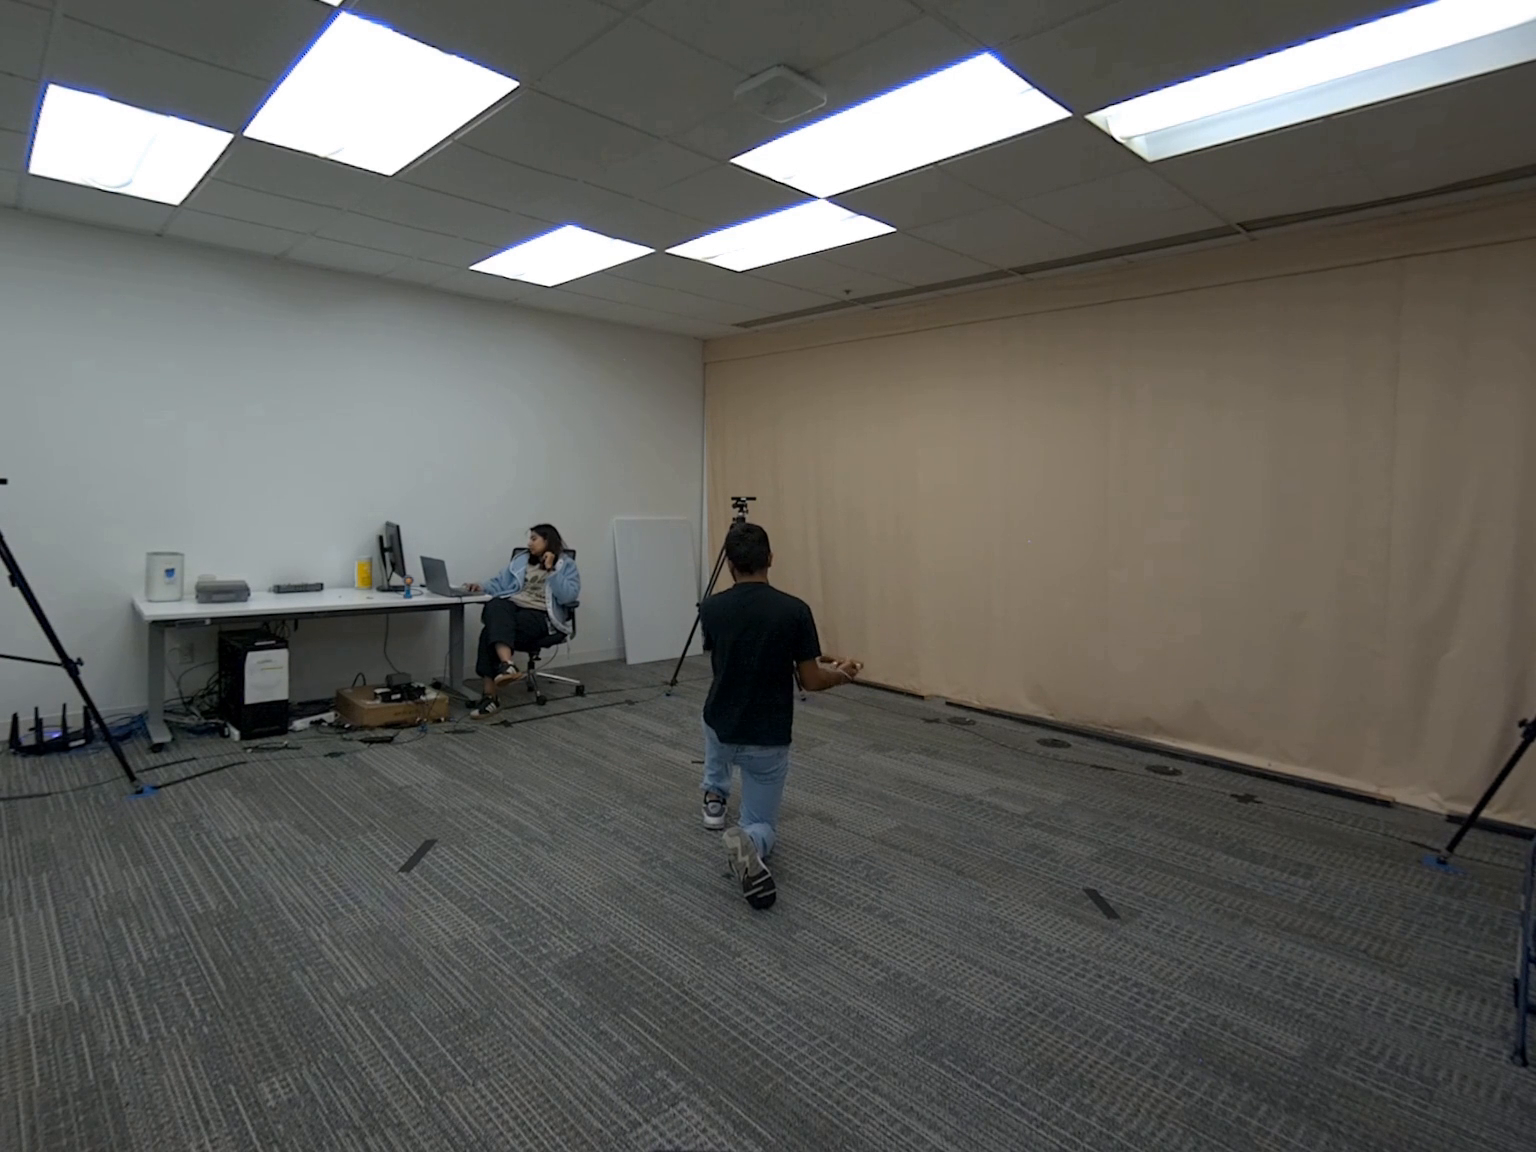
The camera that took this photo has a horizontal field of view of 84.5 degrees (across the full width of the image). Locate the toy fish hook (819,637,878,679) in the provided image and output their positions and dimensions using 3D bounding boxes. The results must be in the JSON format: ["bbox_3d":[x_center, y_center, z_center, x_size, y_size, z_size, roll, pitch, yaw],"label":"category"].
[{"bbox_3d":[0.200,0.341,3.741,0.519,0.047,0.222,9,26,34],"label":"toy fish hook"}]
